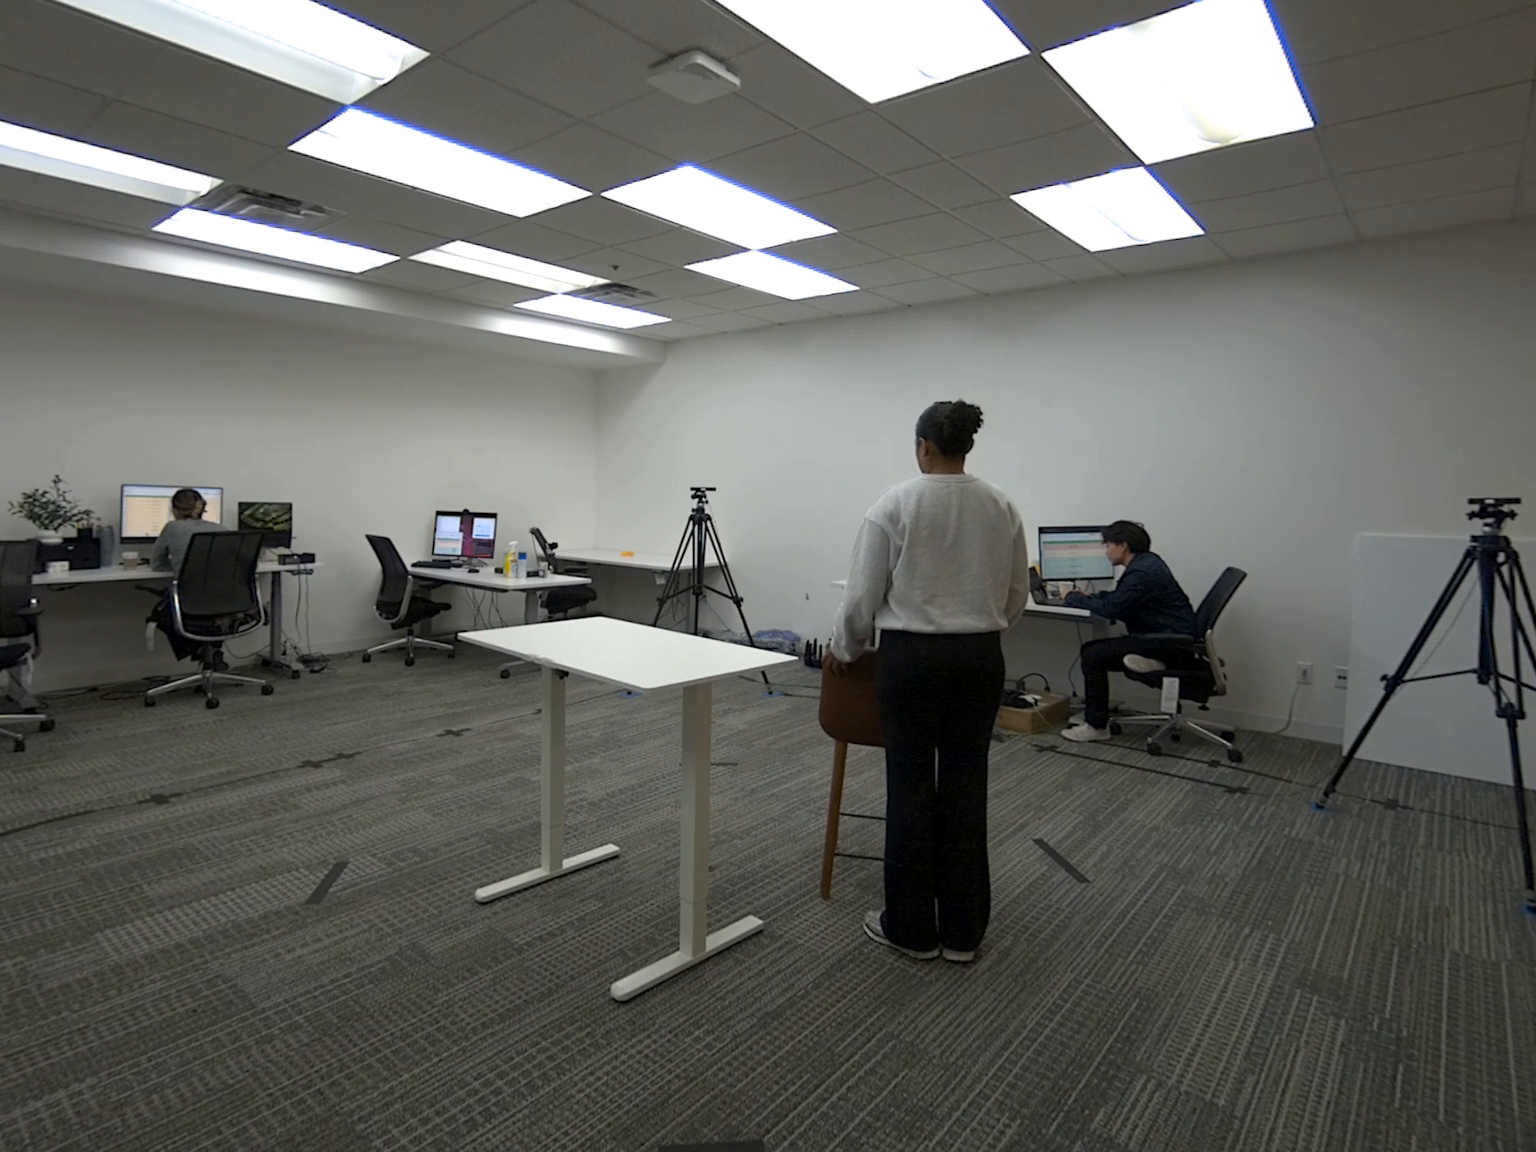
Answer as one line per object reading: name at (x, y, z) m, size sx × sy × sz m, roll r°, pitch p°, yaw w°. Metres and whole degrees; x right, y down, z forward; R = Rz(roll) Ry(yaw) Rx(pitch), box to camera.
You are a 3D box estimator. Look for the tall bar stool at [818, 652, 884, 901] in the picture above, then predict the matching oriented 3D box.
tall bar stool at (0.401, 0.652, 3.043) m, size 0.463 × 0.886 × 0.463 m, roll 2°, pitch 5°, yaw 13°
